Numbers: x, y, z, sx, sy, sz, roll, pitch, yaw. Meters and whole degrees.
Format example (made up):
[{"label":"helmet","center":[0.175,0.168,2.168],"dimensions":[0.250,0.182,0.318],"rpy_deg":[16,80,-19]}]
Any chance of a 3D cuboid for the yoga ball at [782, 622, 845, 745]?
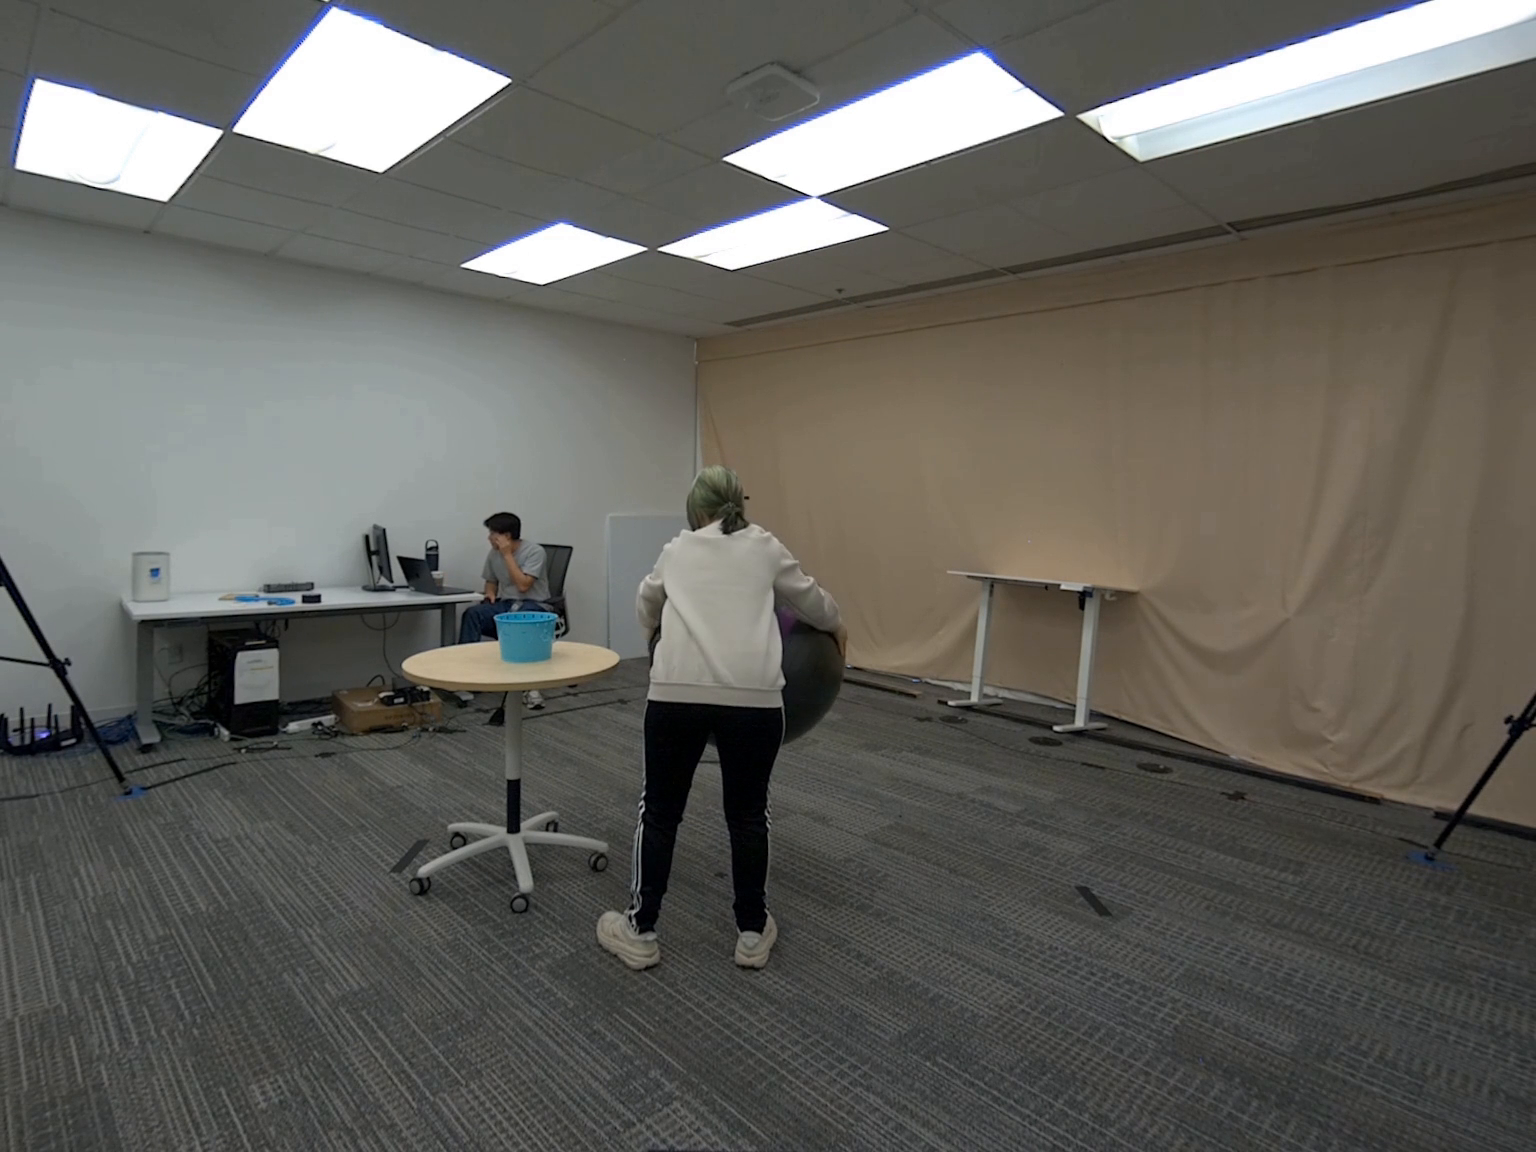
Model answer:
[{"label":"yoga ball","center":[-0.083,0.292,3.237],"dimensions":[0.757,0.756,0.761],"rpy_deg":[1,4,-1]}]
